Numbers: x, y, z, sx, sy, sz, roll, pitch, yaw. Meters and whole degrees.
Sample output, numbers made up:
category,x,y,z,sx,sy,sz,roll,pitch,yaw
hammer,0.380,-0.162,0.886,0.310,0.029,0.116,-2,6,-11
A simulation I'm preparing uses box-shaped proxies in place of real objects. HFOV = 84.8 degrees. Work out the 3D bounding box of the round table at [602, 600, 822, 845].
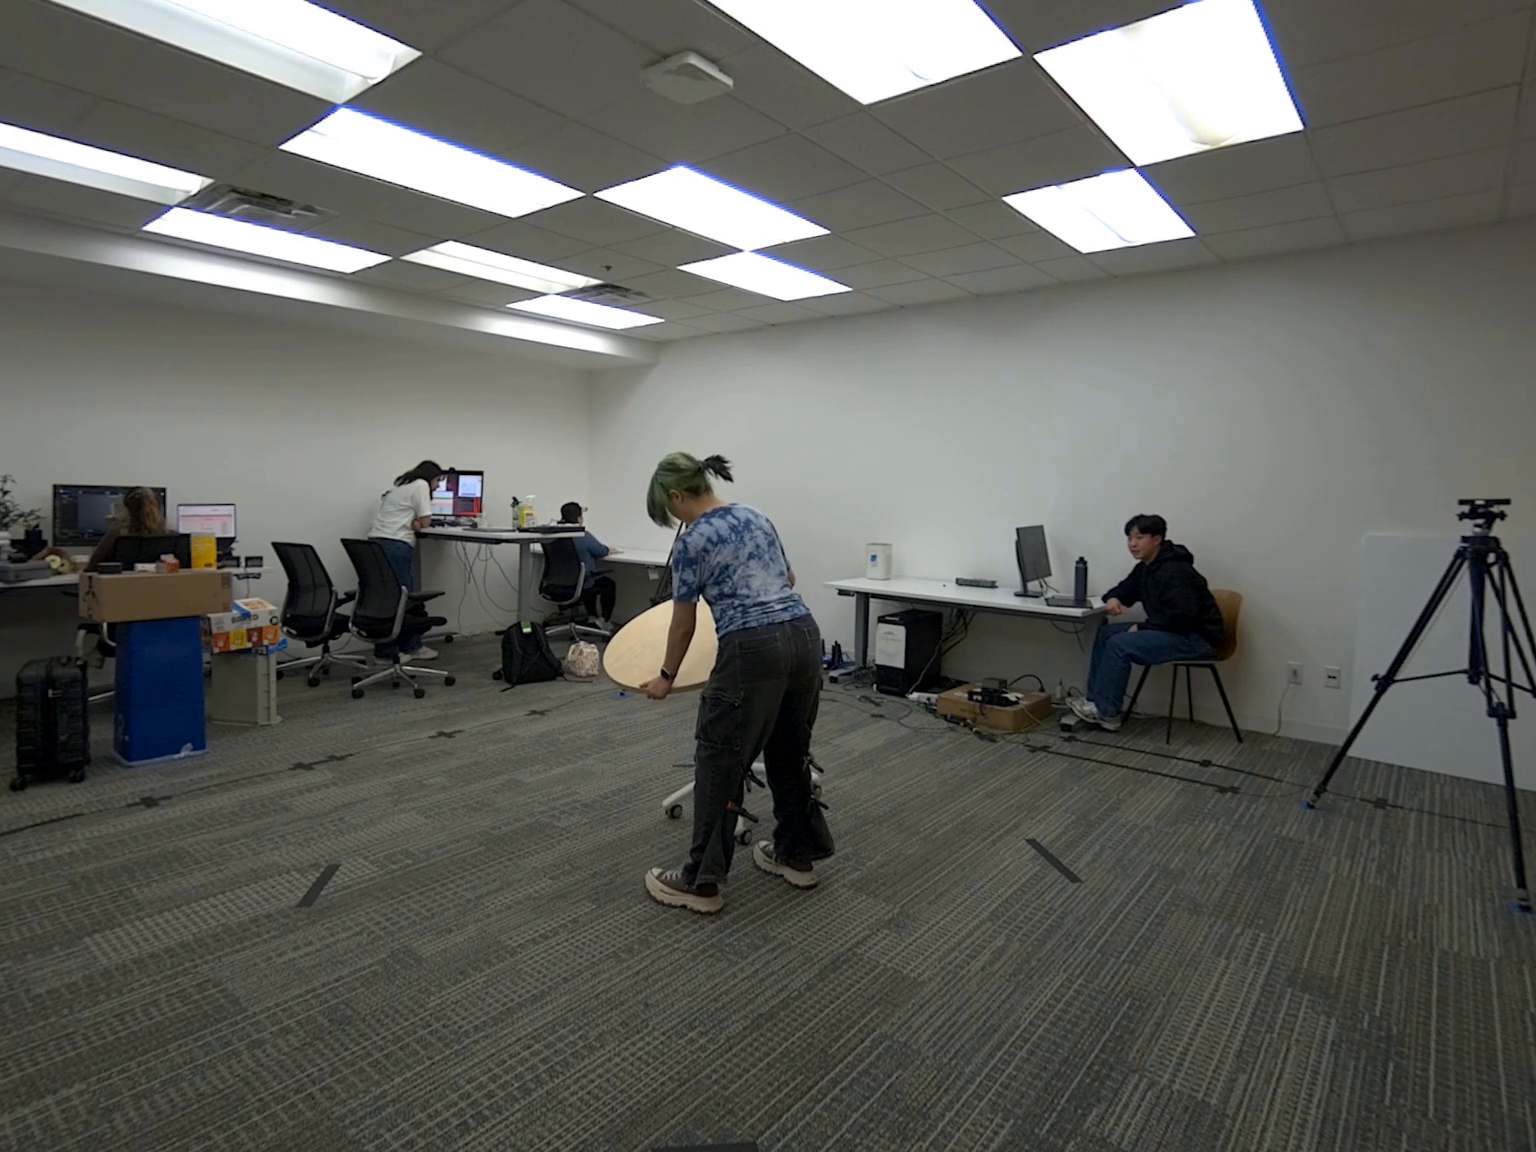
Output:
category,x,y,z,sx,sy,sz,roll,pitch,yaw
round table,-0.215,0.574,3.516,0.767,0.775,0.780,-14,22,4
